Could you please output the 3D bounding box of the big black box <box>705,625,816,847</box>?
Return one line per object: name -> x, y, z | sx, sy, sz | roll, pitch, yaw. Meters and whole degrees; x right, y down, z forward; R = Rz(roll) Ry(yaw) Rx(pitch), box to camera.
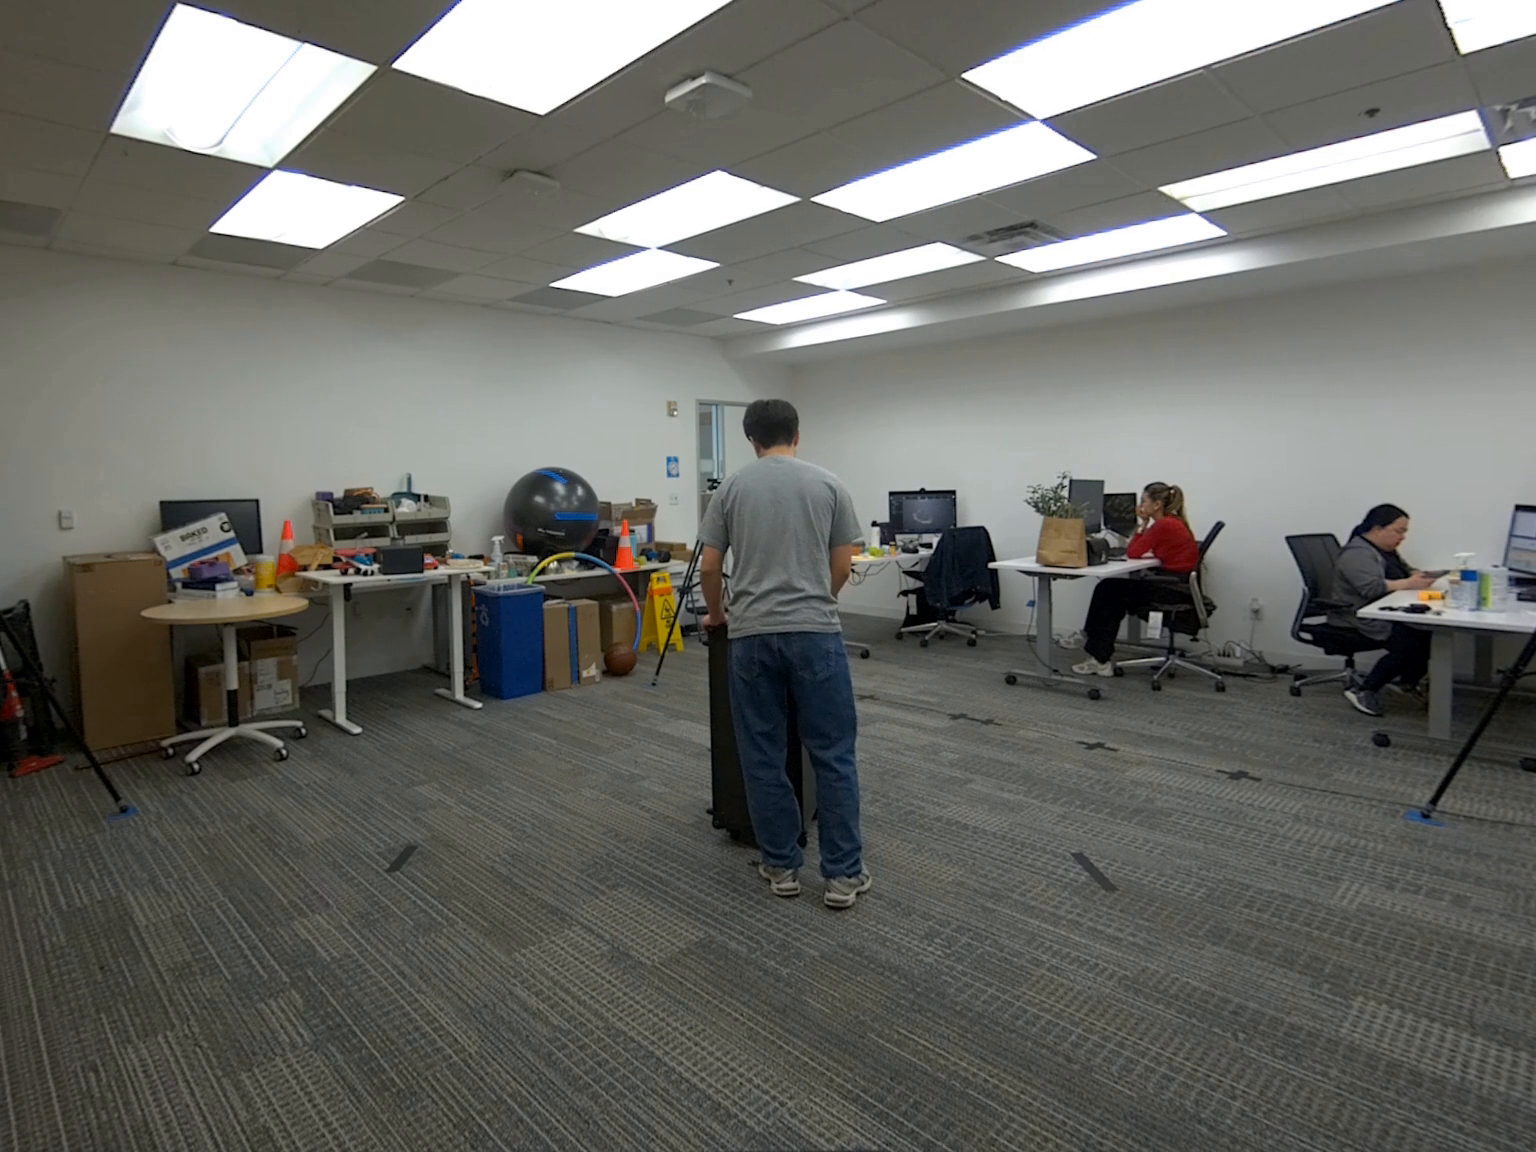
big black box -> -0.009, 0.588, 3.420 | 0.402, 0.859, 0.516 | -1, 4, 14
